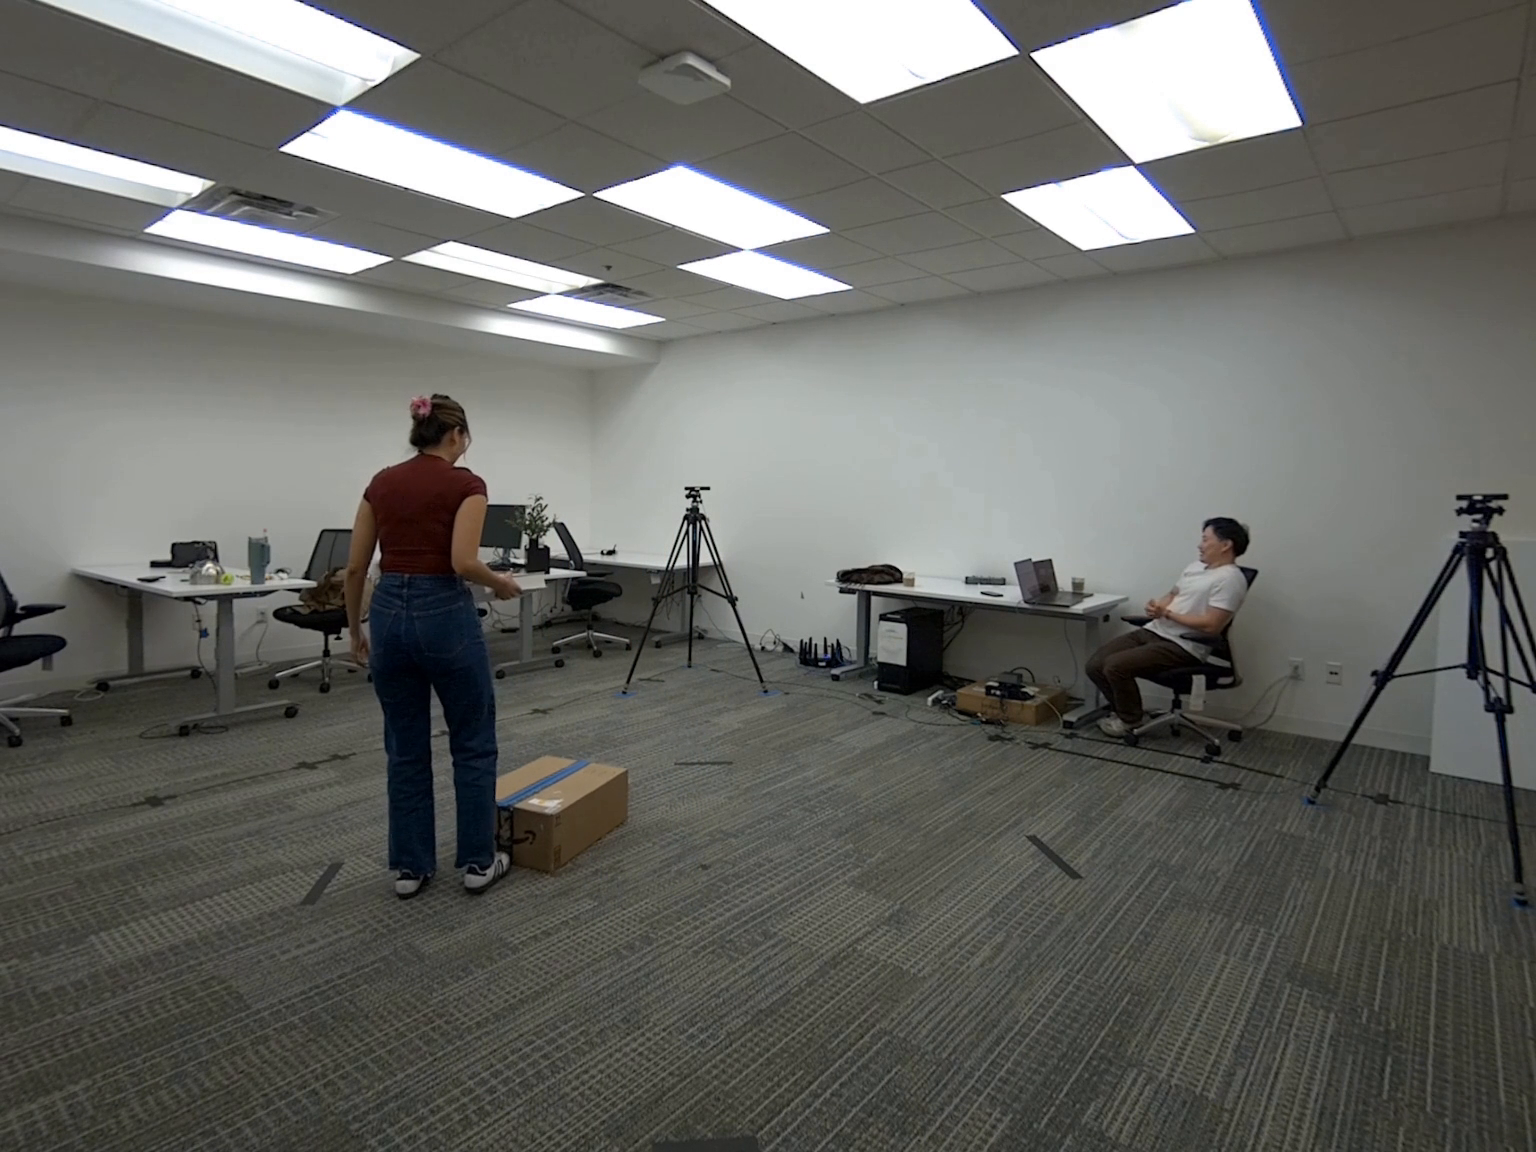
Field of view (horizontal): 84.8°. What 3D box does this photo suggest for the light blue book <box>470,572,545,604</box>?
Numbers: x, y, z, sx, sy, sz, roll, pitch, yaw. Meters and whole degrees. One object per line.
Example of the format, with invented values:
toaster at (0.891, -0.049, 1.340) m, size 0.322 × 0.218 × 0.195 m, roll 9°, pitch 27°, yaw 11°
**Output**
light blue book at (-0.996, 0.046, 3.106) m, size 0.195 × 0.059 × 0.254 m, roll -17°, pitch -6°, yaw 41°
